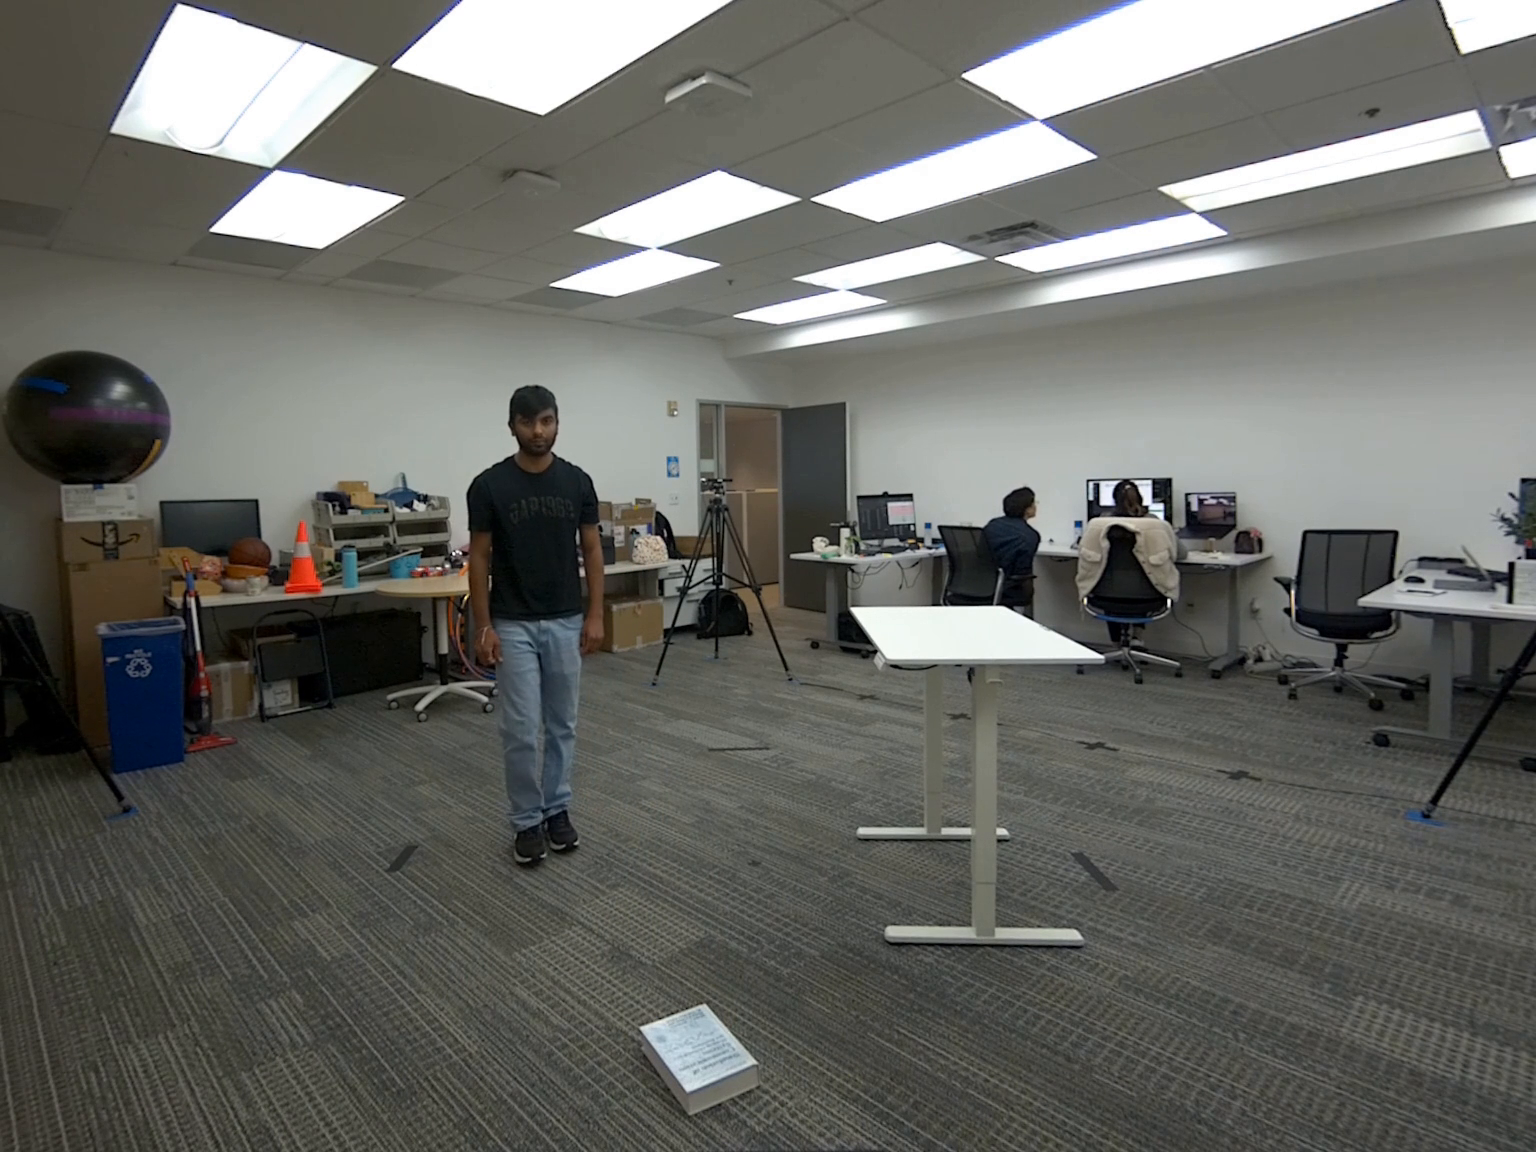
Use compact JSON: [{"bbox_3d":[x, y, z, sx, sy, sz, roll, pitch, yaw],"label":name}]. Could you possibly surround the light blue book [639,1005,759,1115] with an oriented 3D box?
[{"bbox_3d":[-0.159,1.143,2.034,0.187,0.059,0.268,-6,8,-30],"label":"light blue book"}]
